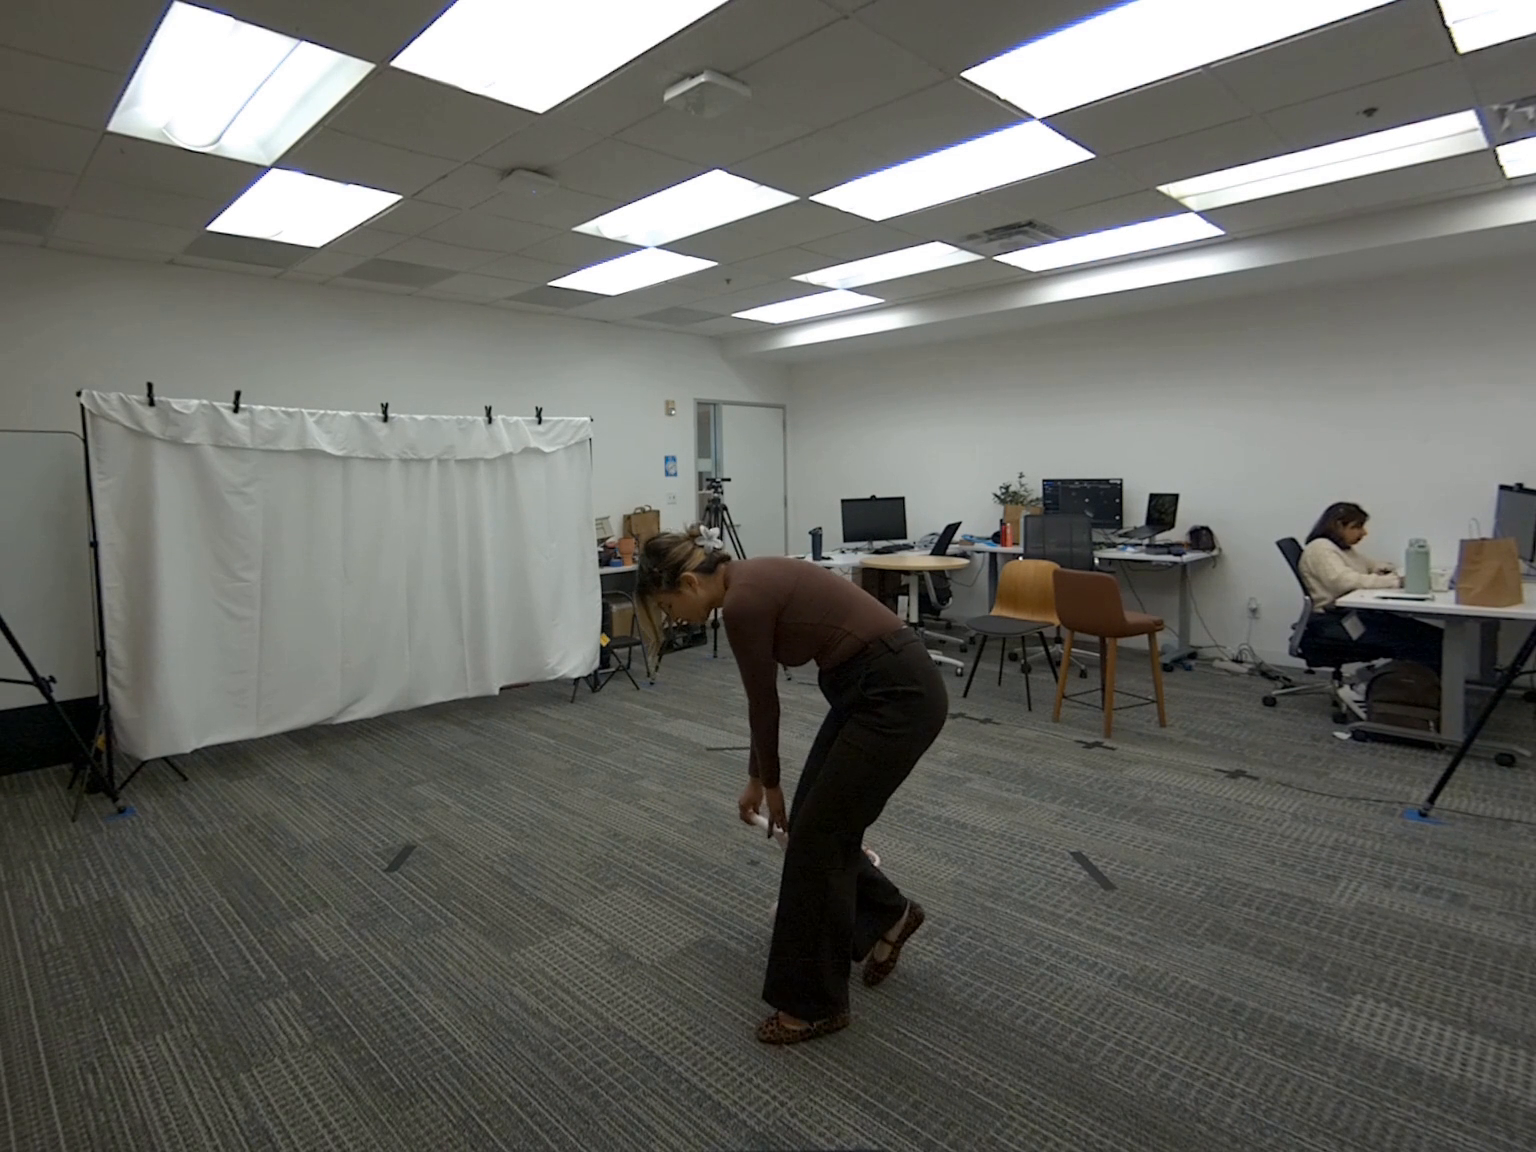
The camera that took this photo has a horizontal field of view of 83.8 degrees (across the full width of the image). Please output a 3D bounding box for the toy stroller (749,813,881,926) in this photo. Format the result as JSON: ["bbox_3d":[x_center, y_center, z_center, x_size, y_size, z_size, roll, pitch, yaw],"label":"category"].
[{"bbox_3d":[0.184,0.881,2.532,0.337,0.528,0.289,-20,13,-24],"label":"toy stroller"}]
